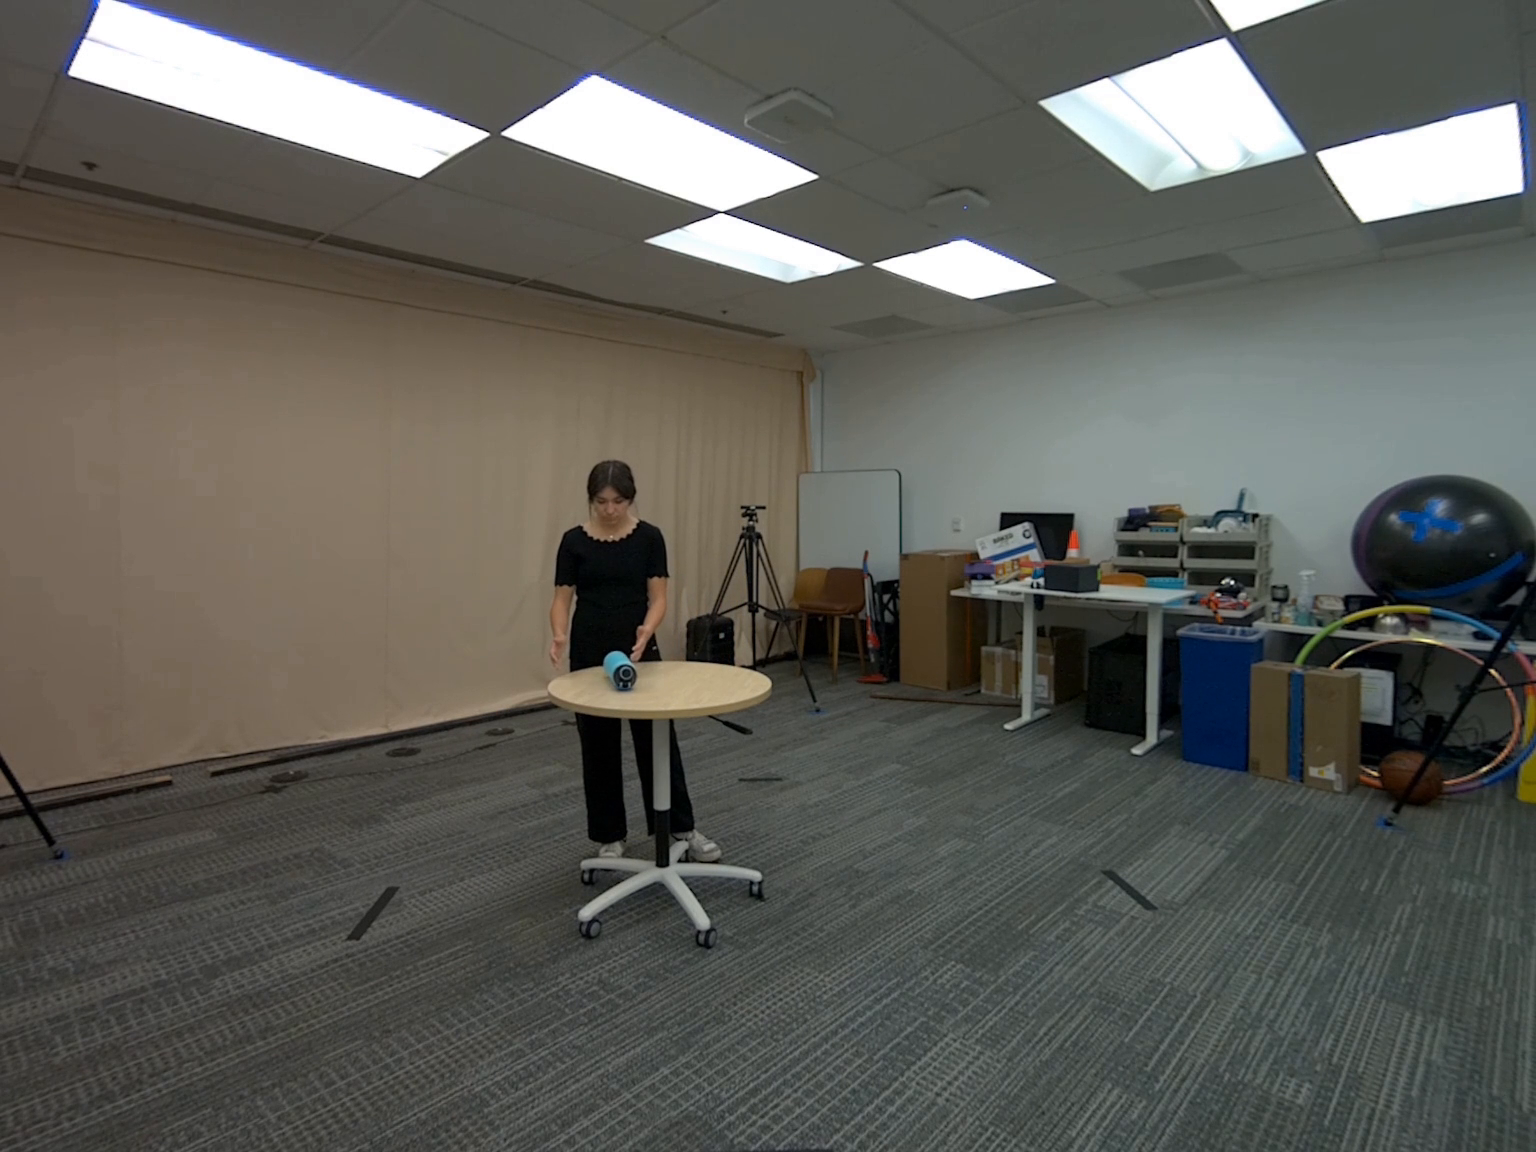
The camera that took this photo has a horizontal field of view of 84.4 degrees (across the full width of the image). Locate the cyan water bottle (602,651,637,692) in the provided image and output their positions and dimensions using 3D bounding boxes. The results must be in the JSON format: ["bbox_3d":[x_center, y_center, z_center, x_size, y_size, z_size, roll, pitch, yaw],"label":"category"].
[{"bbox_3d":[-0.500,0.326,2.886,0.091,0.092,0.288,-1,3,-17],"label":"cyan water bottle"}]
